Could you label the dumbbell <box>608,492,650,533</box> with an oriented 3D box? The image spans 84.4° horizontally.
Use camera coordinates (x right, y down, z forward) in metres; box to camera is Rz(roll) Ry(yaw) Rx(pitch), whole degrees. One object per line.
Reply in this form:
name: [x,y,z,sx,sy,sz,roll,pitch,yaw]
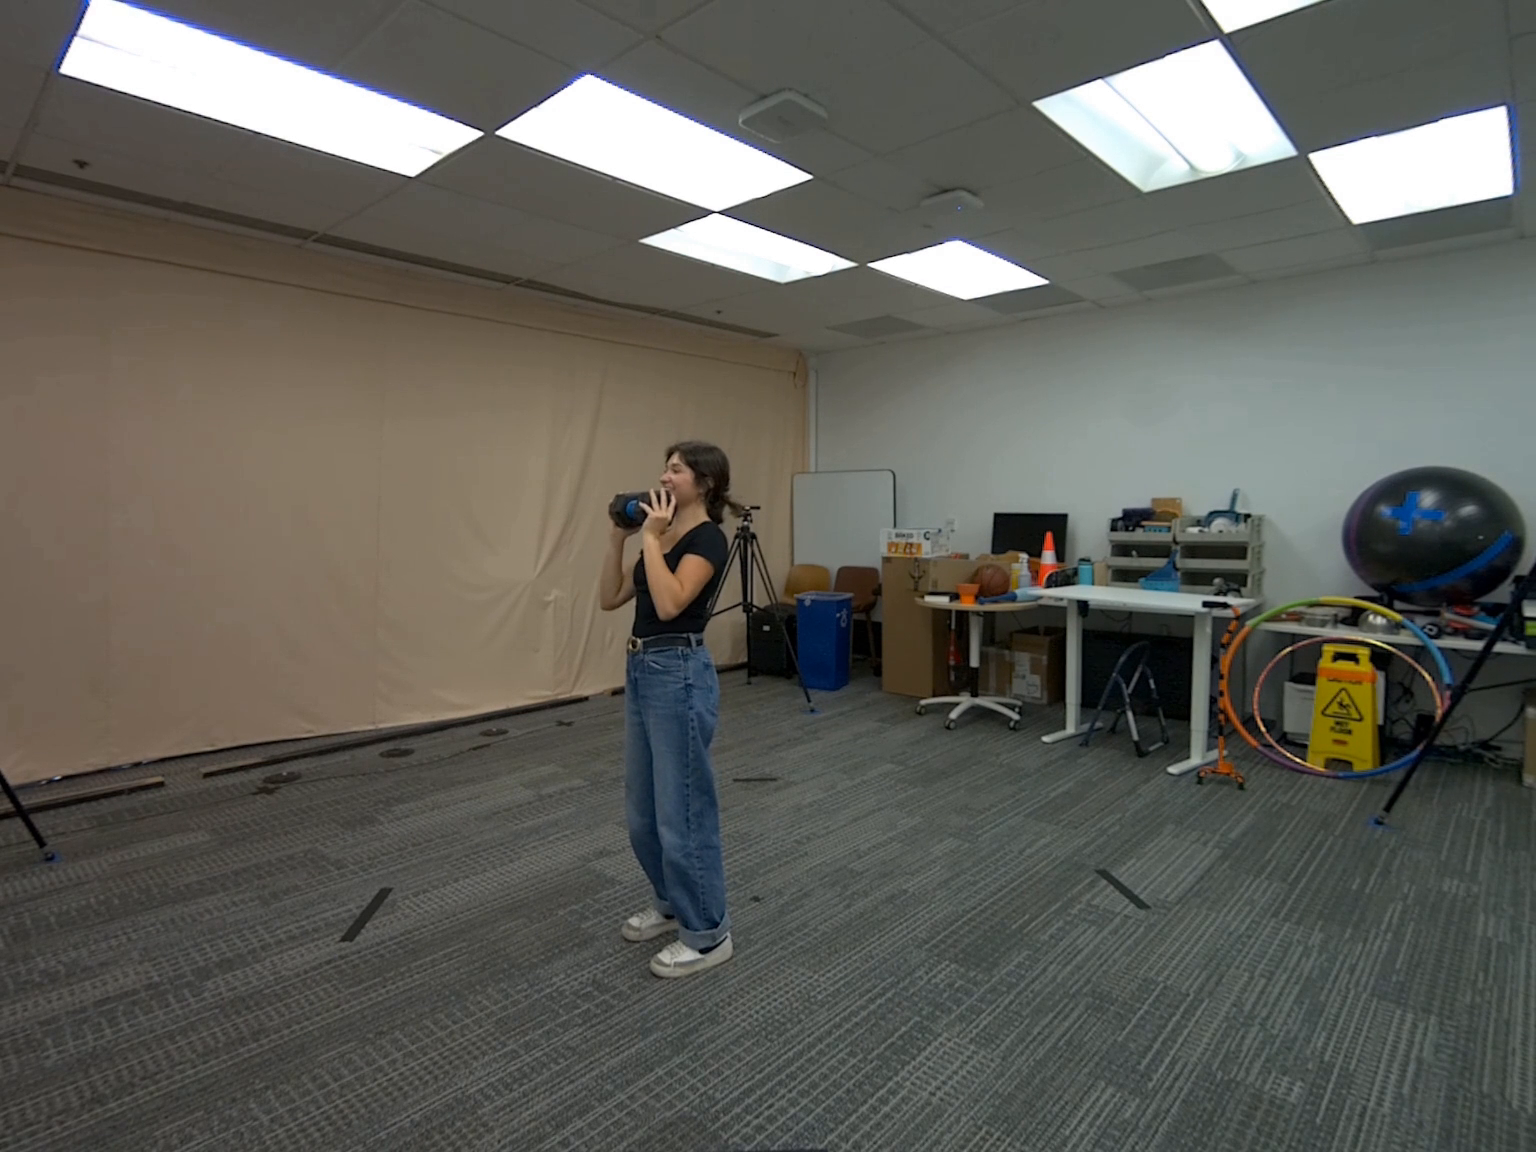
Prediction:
dumbbell: [-0.381,-0.208,2.589,0.108,0.120,0.302,-39,22,-21]
